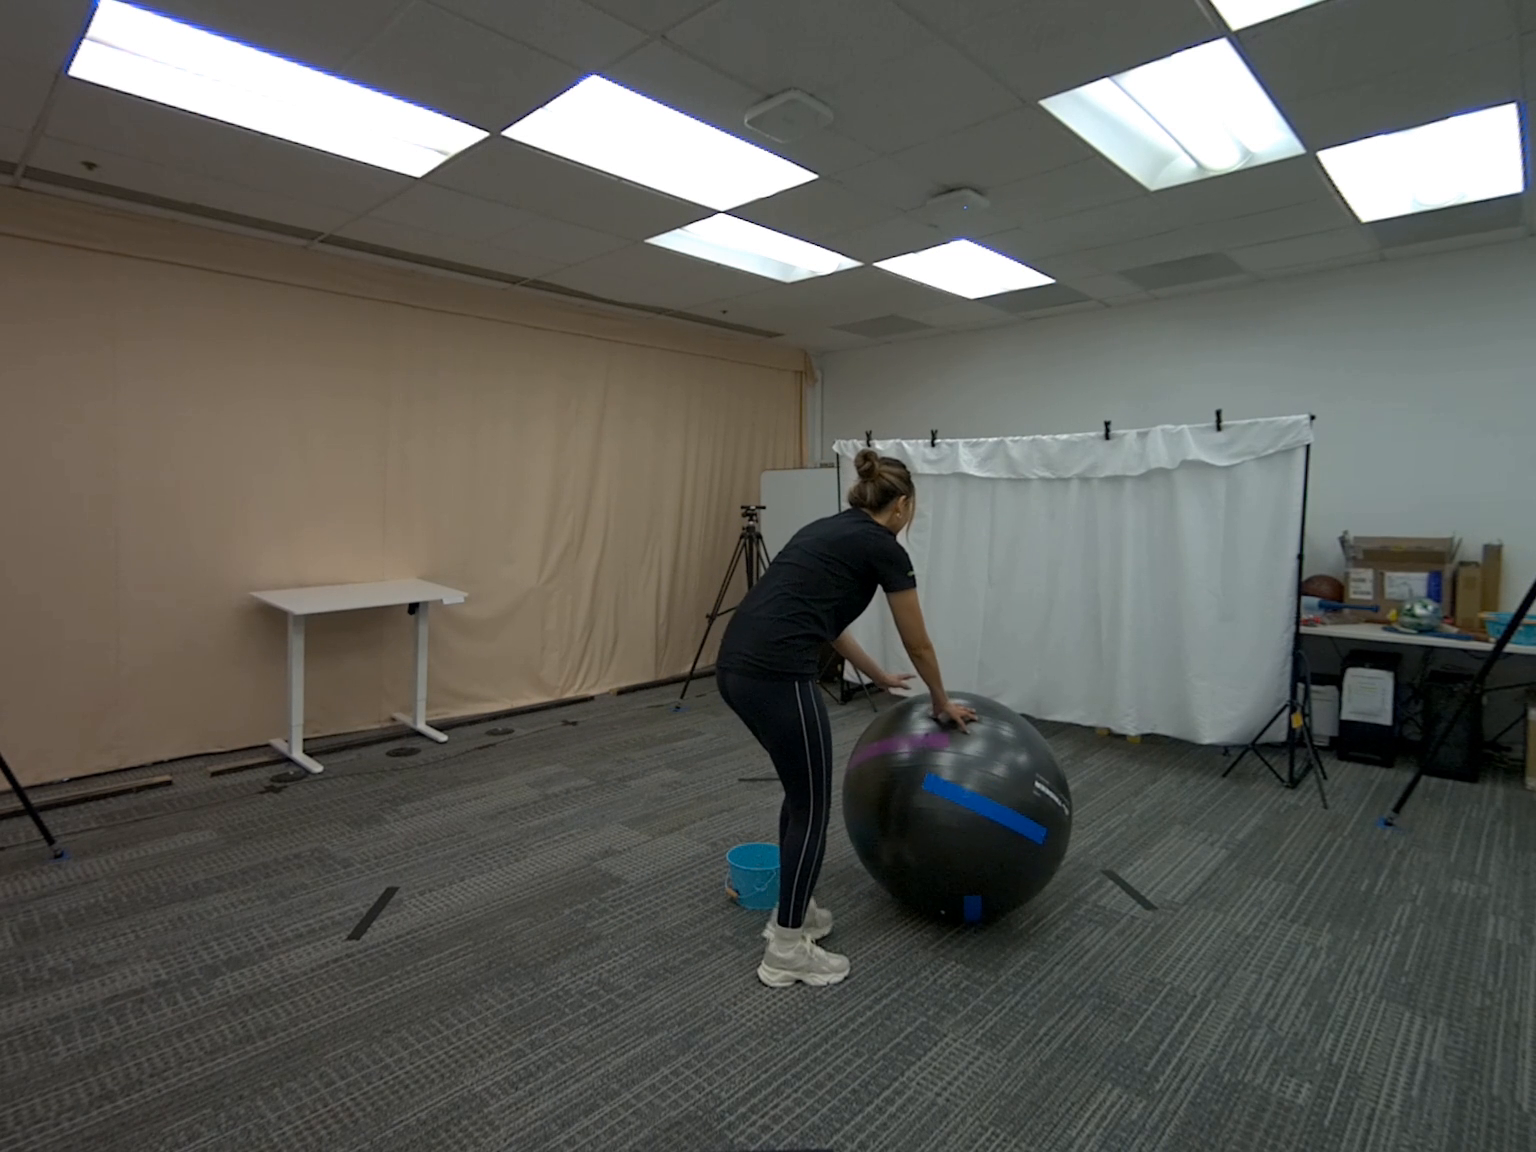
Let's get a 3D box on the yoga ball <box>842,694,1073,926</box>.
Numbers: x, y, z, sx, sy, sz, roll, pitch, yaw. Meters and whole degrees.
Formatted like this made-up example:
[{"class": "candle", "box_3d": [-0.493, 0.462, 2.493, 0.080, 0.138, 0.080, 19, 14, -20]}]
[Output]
[{"class": "yoga ball", "box_3d": [0.646, 0.785, 2.910, 0.757, 0.756, 0.760, 0, 4, -2]}]
